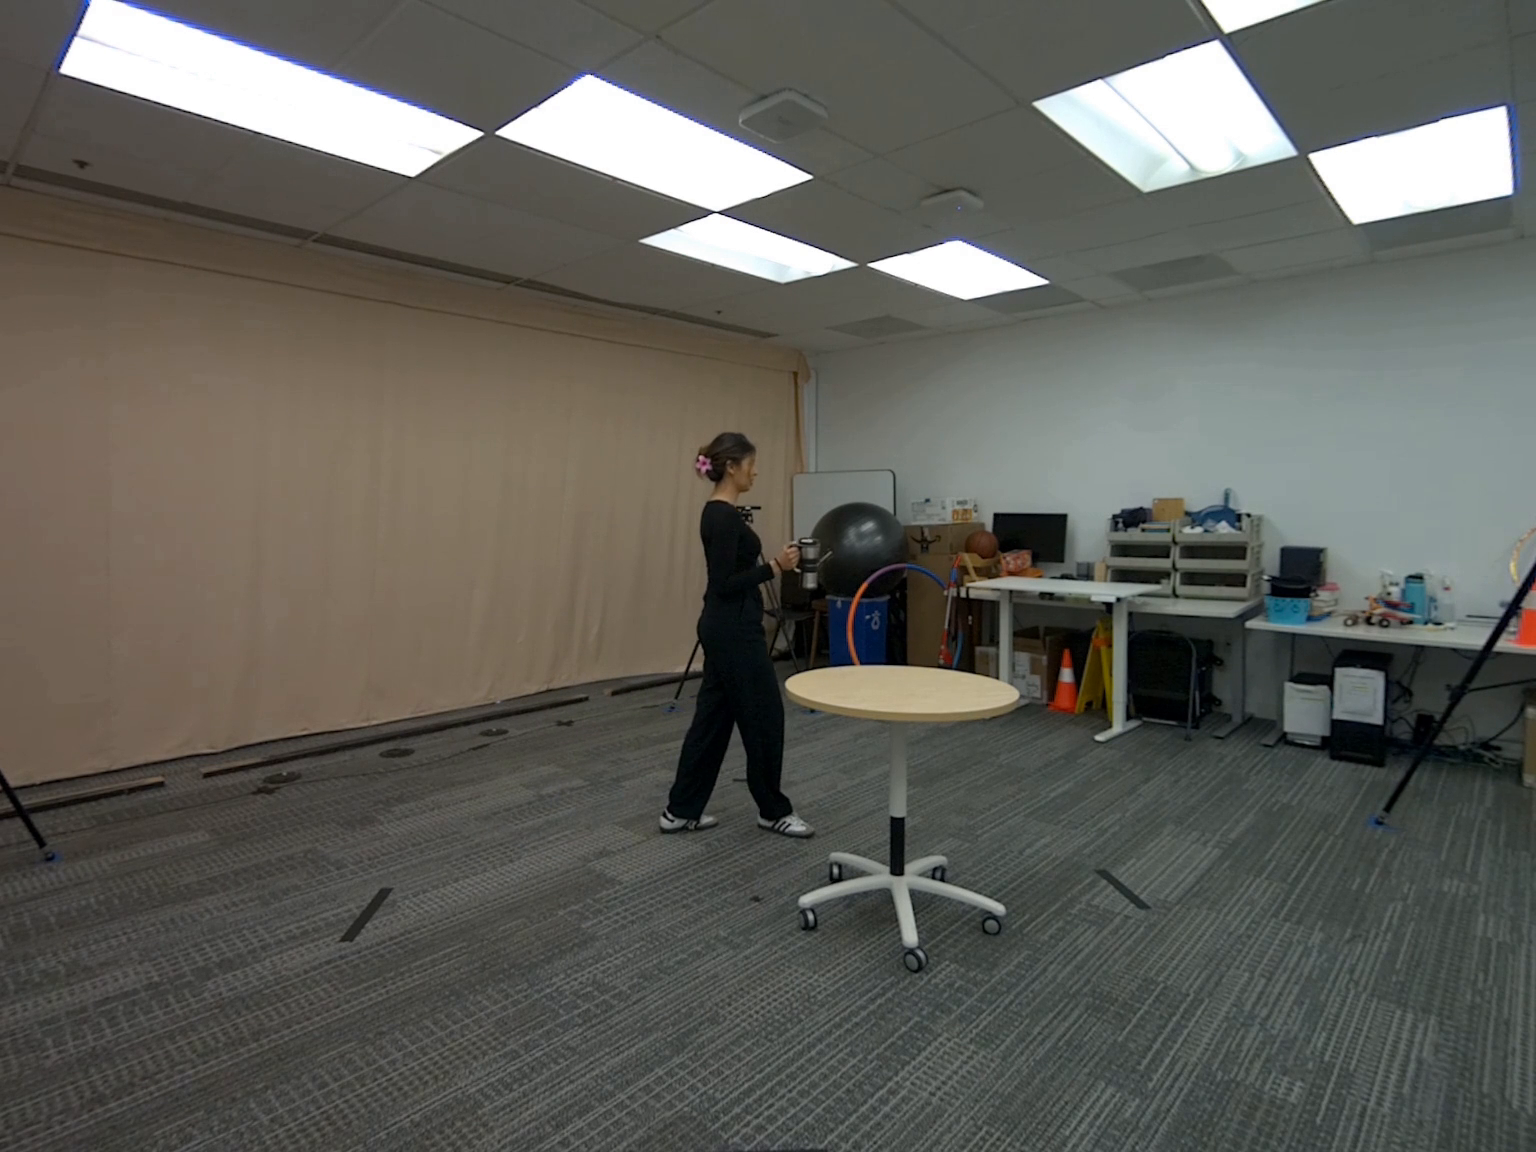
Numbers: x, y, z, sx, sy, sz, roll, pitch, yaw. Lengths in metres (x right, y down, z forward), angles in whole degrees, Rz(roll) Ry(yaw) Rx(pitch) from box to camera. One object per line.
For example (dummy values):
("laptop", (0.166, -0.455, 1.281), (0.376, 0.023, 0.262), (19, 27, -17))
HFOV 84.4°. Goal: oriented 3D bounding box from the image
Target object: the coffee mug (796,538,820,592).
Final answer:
("coffee mug", (0.145, -0.051, 3.416), (0.125, 0.201, 0.086), (9, 15, 23))
